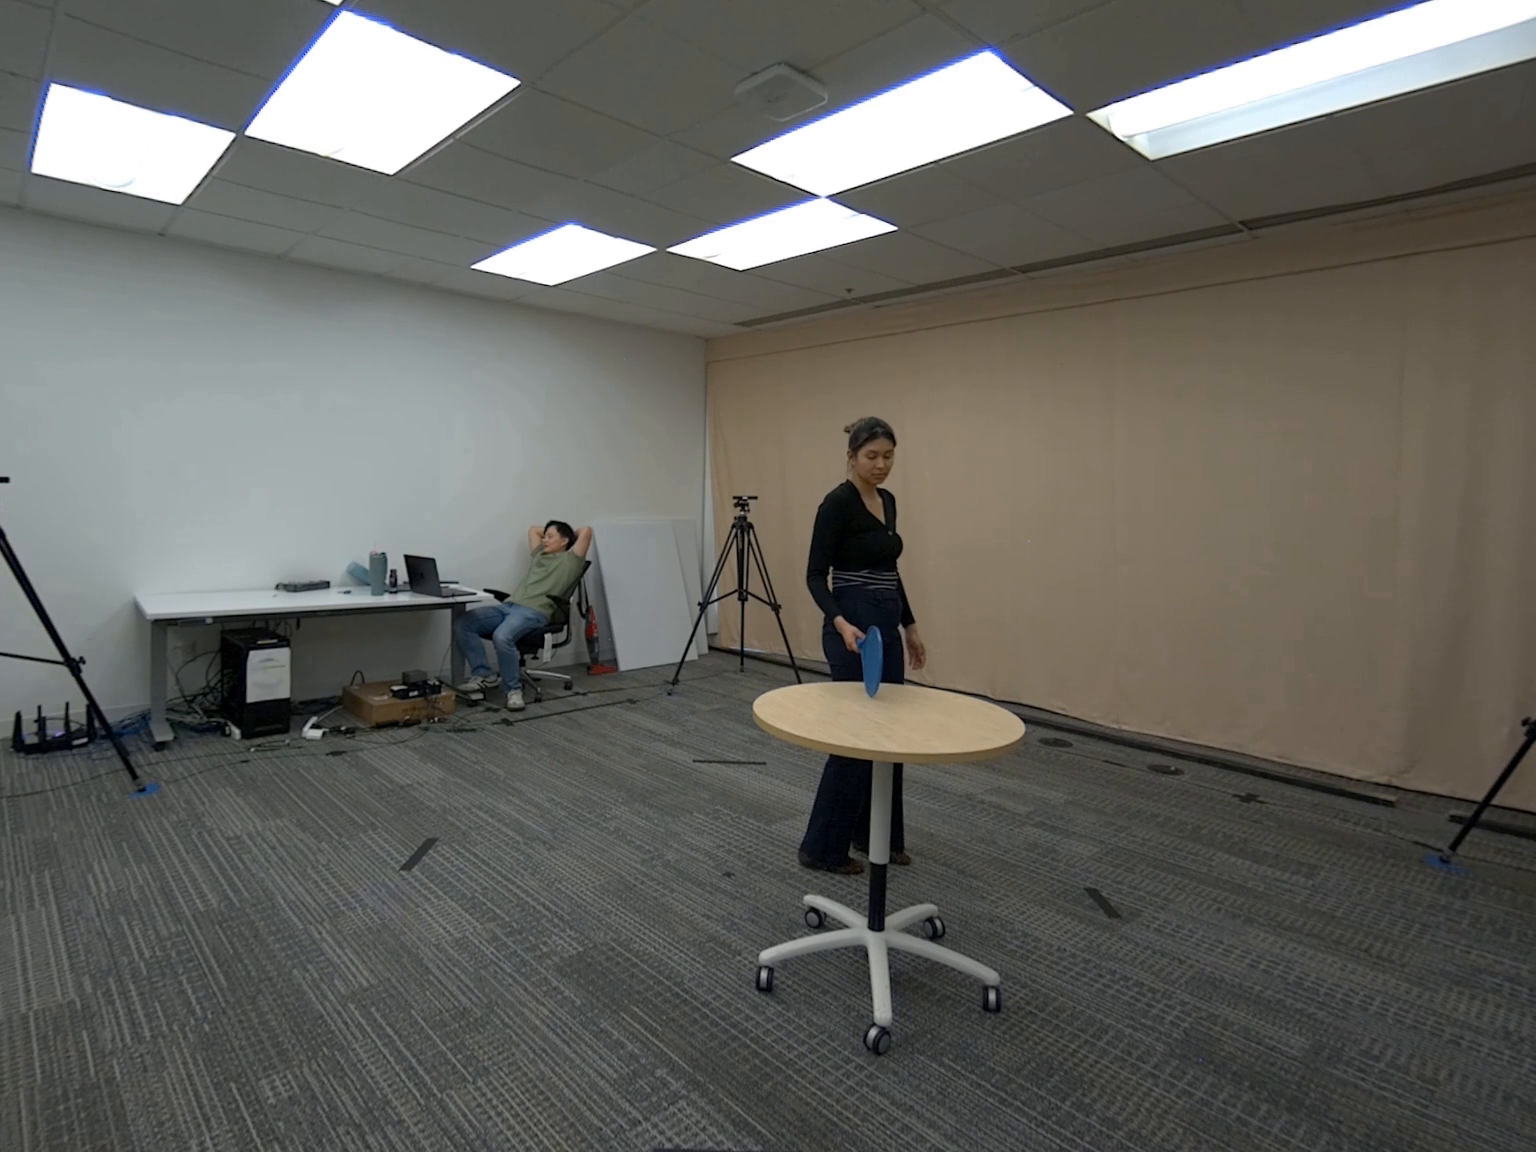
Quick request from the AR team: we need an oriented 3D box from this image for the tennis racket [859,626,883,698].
[{"bbox_3d":[0.313,0.259,2.710,0.032,0.213,0.432,-1,4,3],"label":"tennis racket"}]
